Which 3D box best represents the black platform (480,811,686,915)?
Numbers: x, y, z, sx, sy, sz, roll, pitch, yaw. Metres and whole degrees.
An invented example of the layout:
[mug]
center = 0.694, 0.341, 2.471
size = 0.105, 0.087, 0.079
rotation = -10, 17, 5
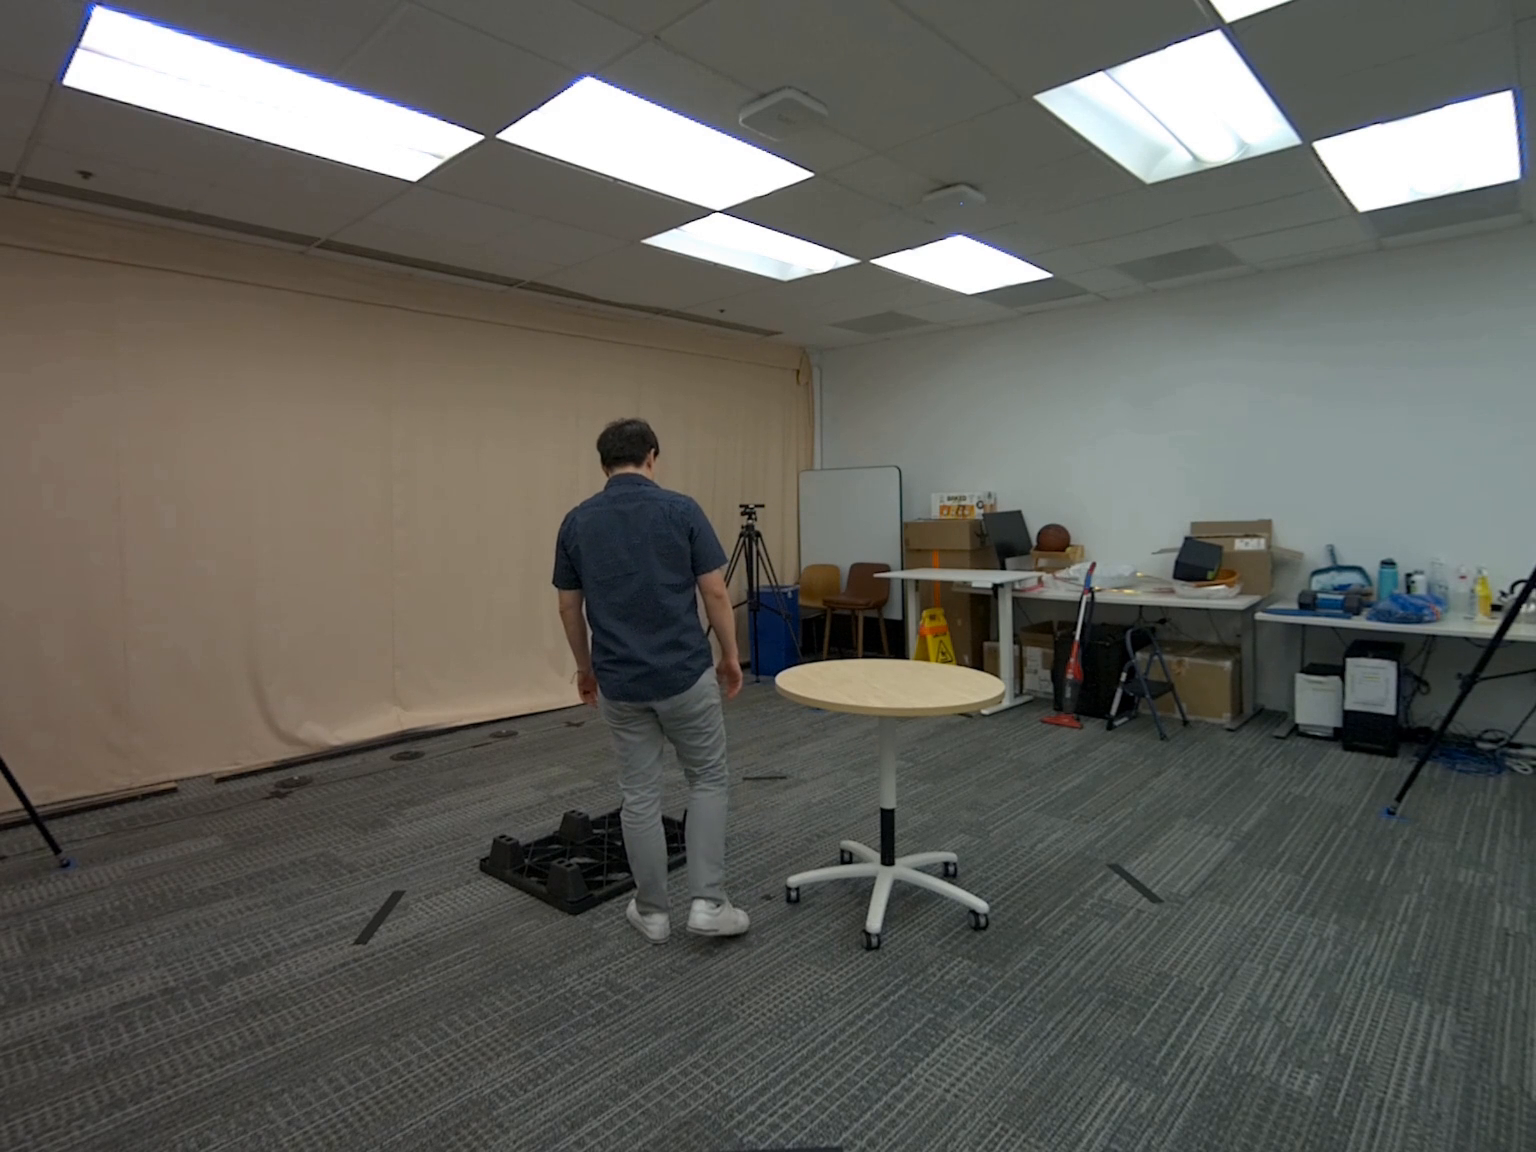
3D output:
[black platform]
center = -0.648, 1.056, 3.365
size = 0.625, 0.143, 0.781
rotation = 3, 6, 40
